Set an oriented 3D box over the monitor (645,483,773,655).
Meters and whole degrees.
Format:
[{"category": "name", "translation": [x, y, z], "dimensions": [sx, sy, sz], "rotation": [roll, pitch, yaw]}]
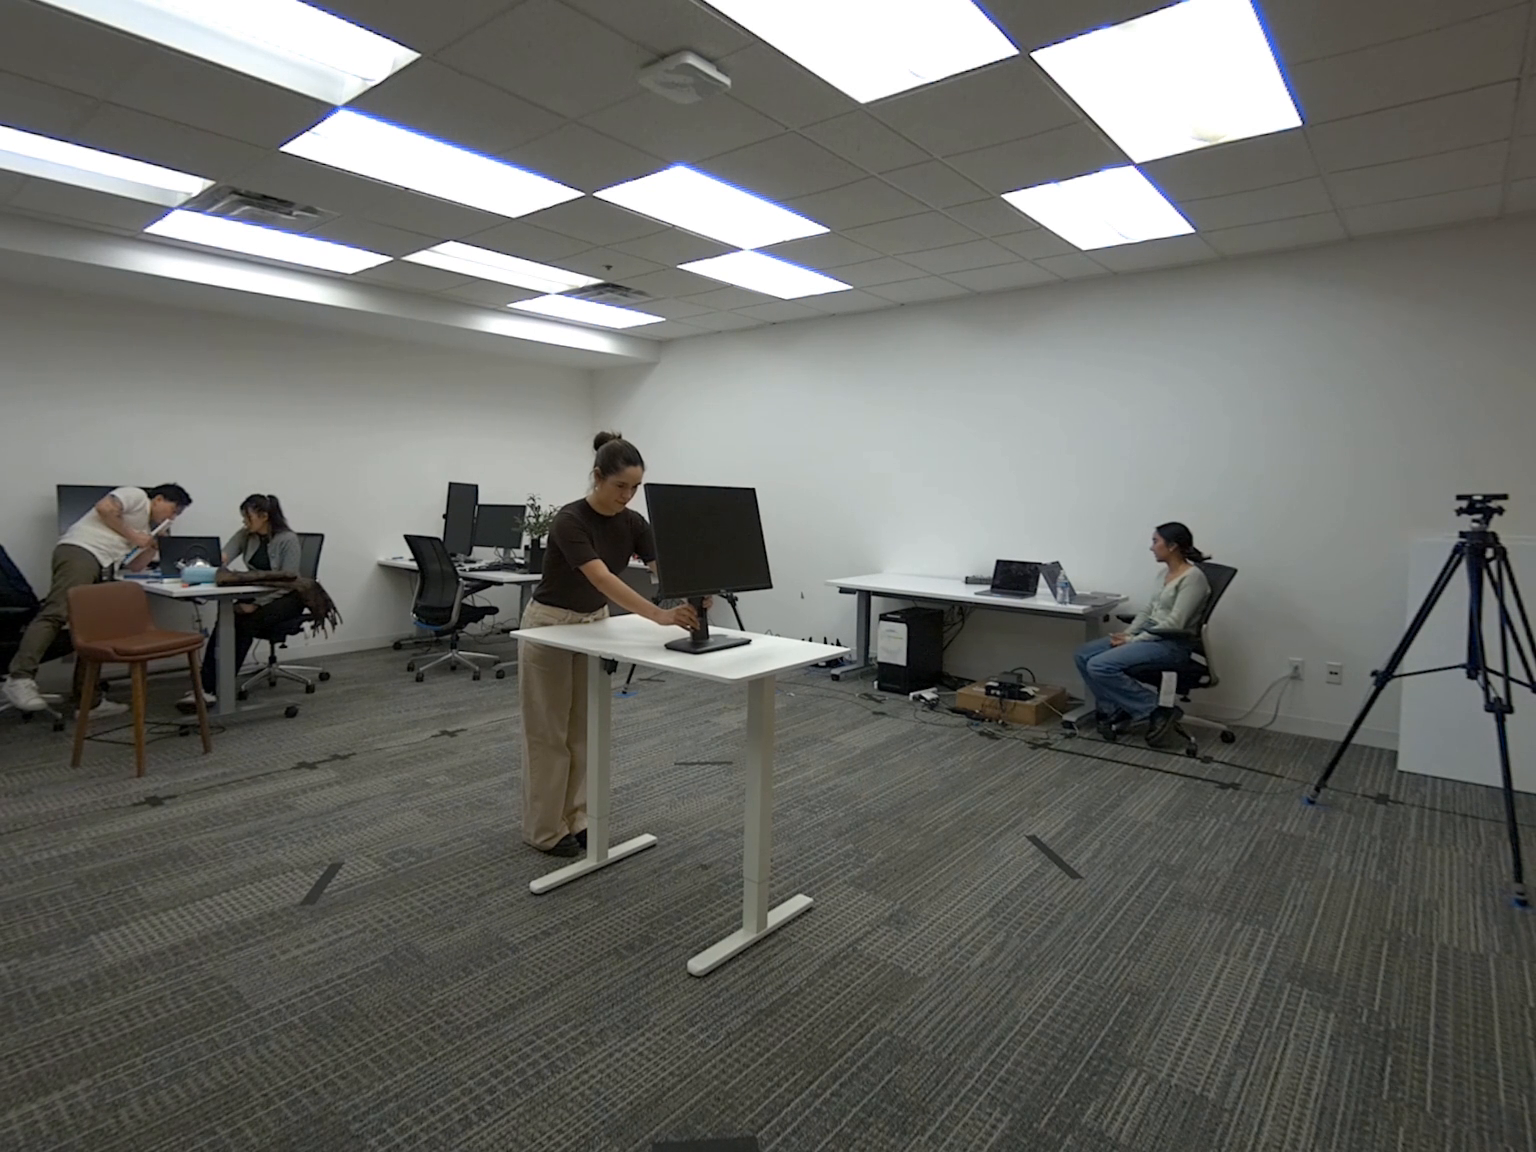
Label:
[{"category": "monitor", "translation": [-0.209, -0.033, 2.724], "dimensions": [0.180, 0.514, 0.514], "rotation": [7, 5, 36]}]
